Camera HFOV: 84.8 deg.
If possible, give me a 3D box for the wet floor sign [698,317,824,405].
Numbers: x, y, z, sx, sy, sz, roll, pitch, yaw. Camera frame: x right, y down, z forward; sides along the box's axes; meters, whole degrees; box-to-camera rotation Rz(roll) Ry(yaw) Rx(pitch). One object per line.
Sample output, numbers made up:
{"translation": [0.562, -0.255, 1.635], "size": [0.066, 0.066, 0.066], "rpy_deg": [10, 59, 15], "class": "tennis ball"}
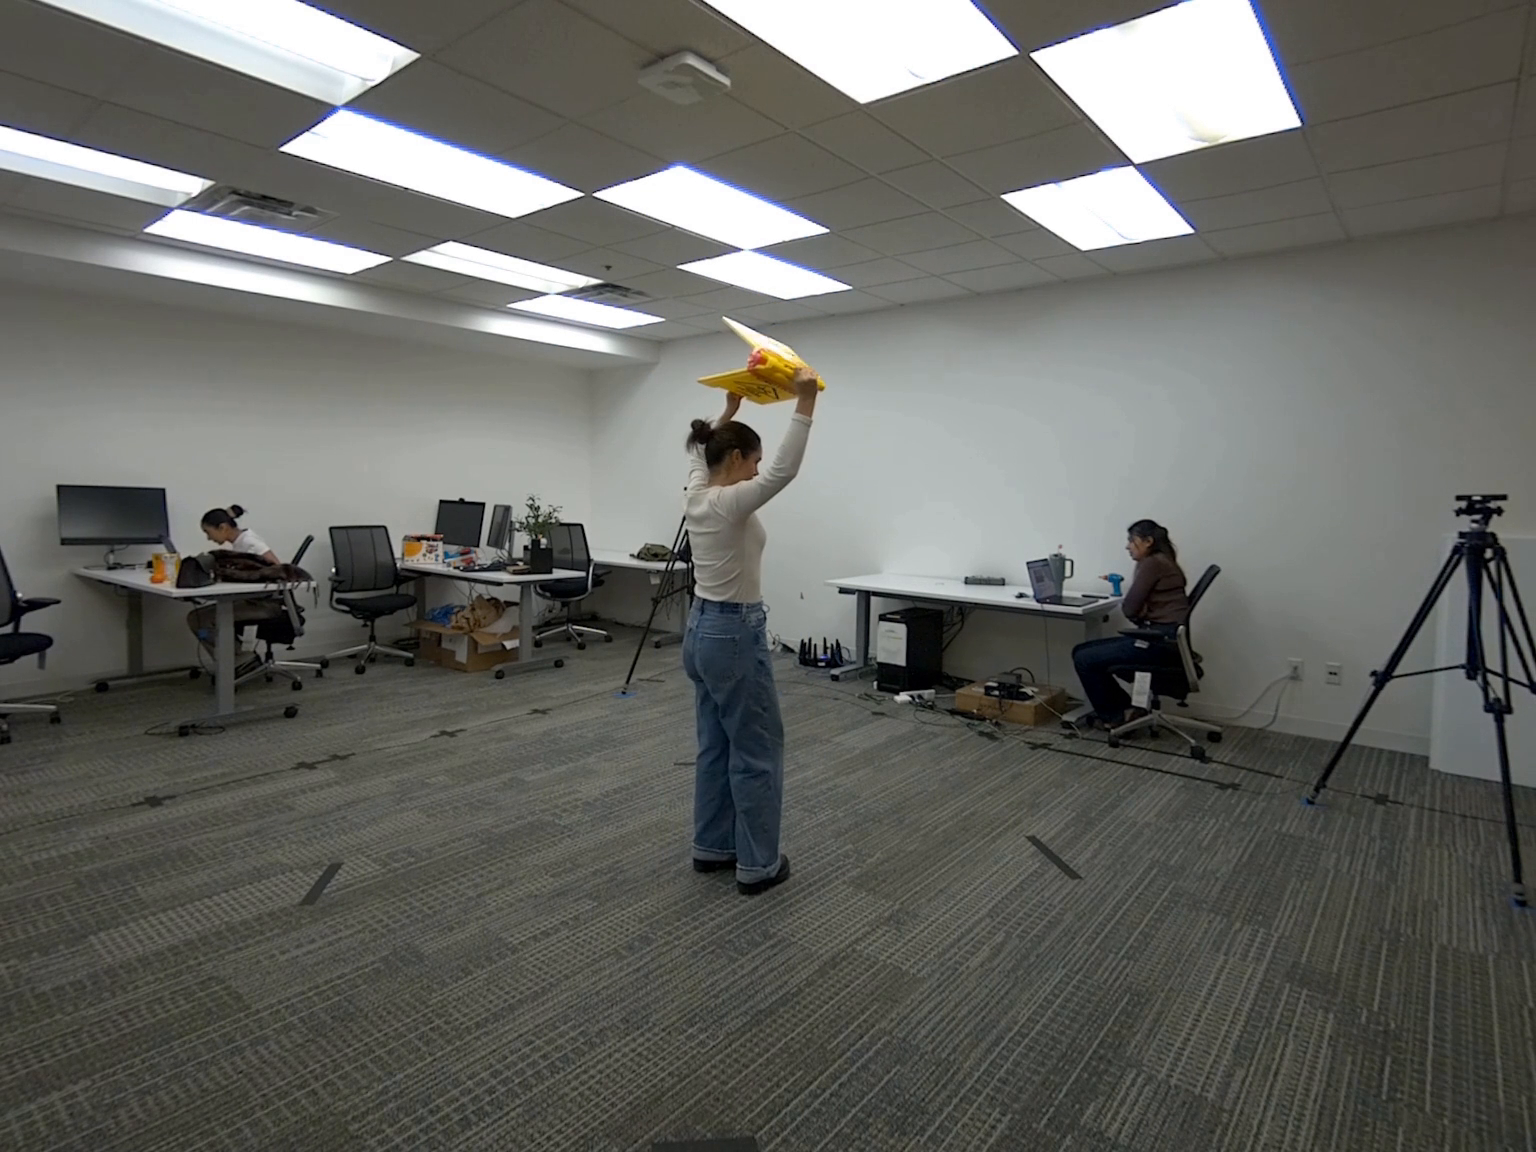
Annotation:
{"translation": [-0.004, -0.719, 2.930], "size": [0.275, 0.288, 0.666], "rpy_deg": [19, 9, -23], "class": "wet floor sign"}
